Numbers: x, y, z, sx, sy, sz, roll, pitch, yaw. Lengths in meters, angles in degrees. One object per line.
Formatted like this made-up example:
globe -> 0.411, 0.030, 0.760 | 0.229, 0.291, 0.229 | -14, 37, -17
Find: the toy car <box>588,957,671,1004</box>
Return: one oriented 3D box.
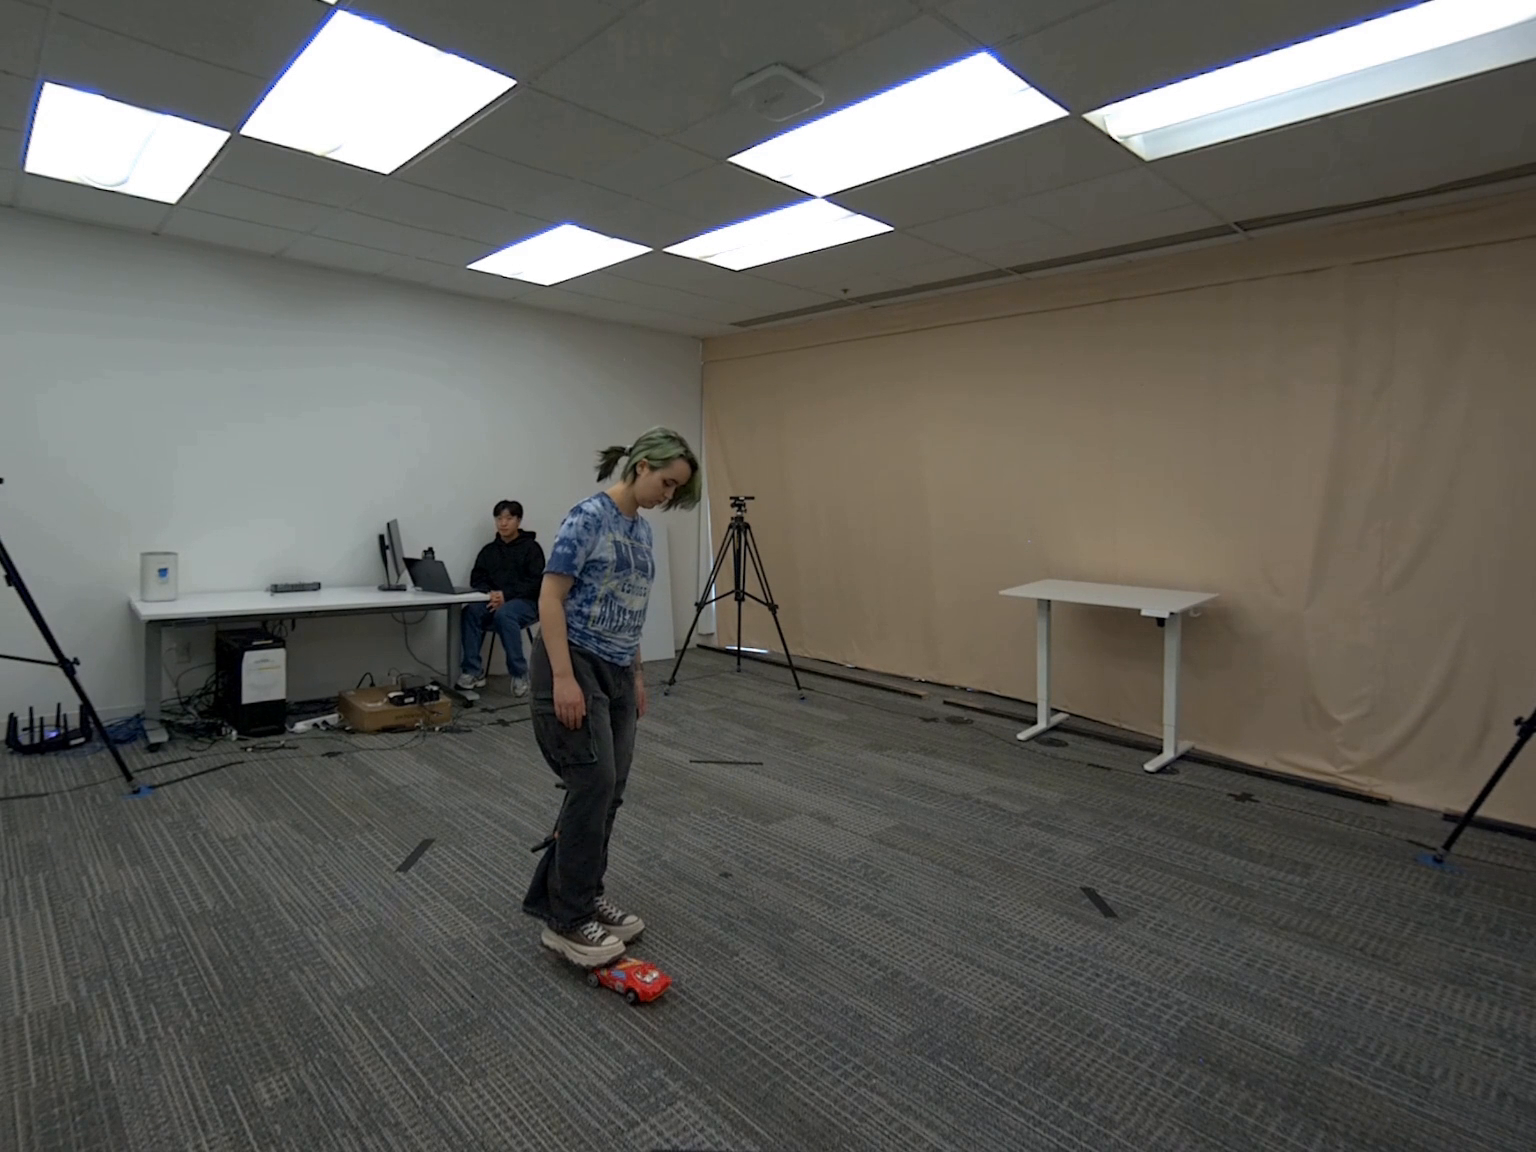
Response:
toy car -> -0.385, 1.139, 2.360 | 0.259, 0.083, 0.127 | -12, -4, 34
